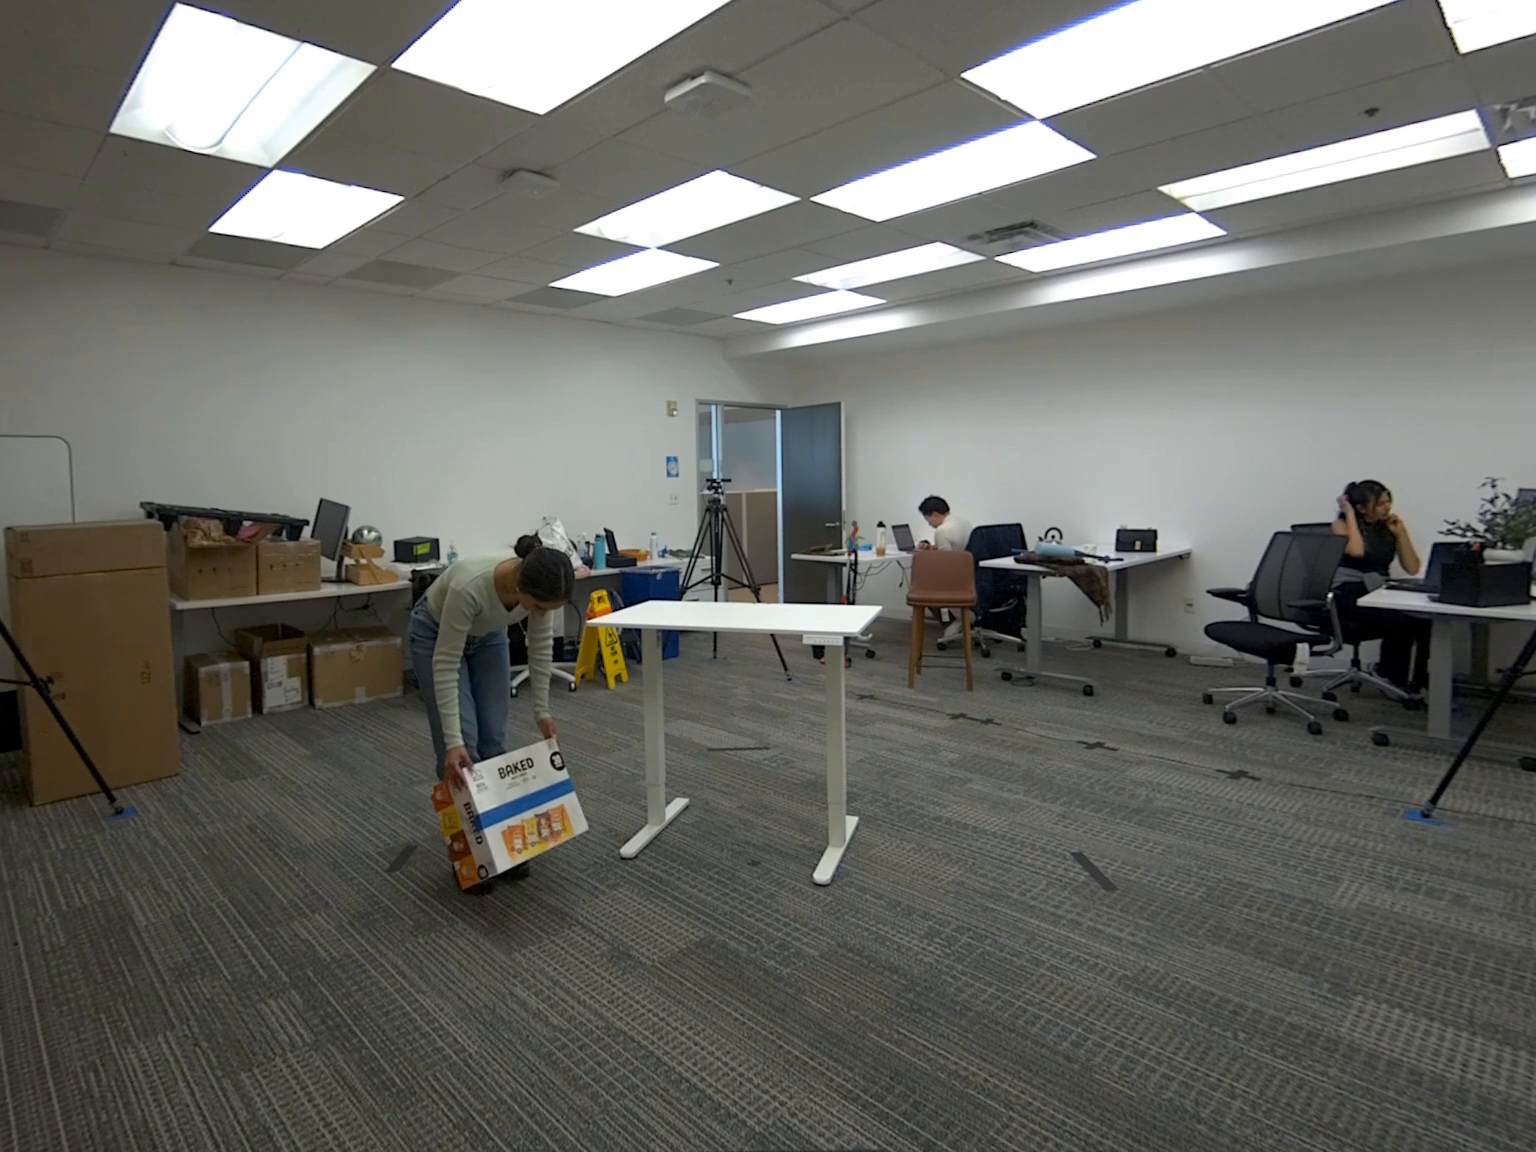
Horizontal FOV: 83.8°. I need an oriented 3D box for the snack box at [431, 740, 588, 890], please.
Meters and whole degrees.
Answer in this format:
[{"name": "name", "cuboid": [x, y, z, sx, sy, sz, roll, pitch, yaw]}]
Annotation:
[{"name": "snack box", "cuboid": [-0.864, 0.783, 2.875, 0.207, 0.345, 0.396, -32, -13, 31]}]
